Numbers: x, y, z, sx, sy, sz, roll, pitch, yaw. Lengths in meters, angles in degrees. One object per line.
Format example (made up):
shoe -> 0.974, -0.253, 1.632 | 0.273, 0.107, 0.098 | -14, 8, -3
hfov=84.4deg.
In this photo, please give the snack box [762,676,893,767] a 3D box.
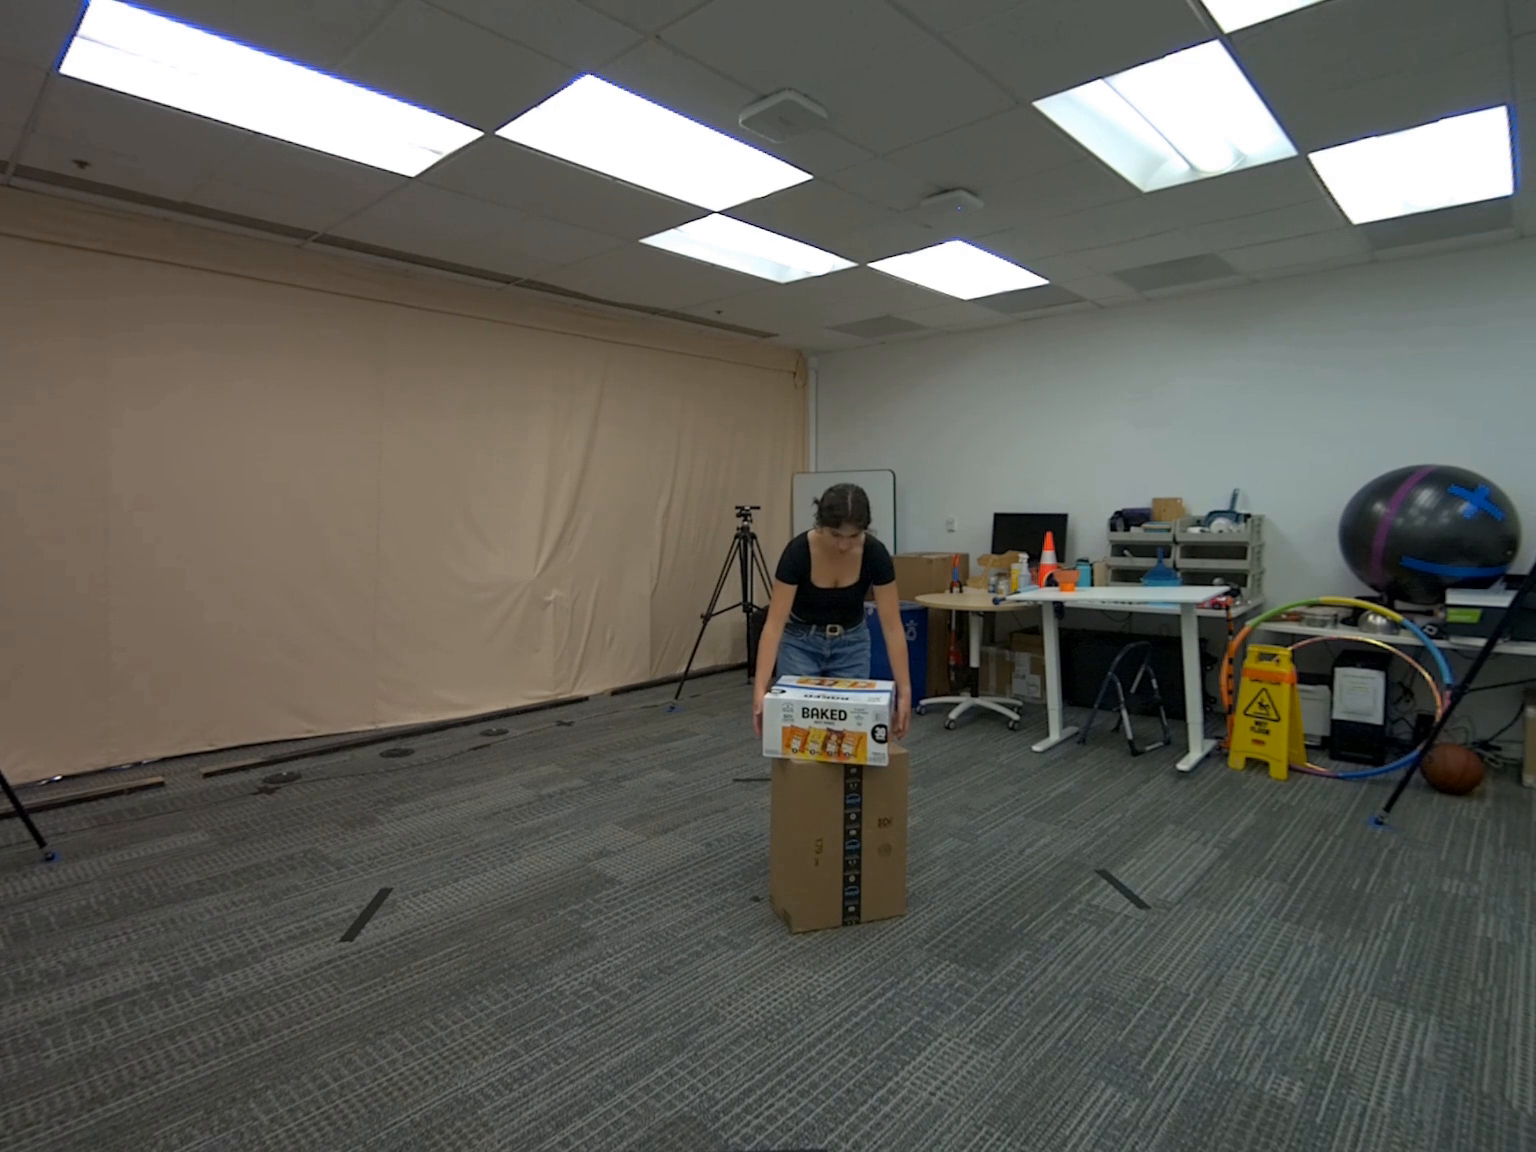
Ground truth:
snack box -> 0.217, 0.483, 2.876 | 0.412, 0.205, 0.336 | 1, 5, 14
